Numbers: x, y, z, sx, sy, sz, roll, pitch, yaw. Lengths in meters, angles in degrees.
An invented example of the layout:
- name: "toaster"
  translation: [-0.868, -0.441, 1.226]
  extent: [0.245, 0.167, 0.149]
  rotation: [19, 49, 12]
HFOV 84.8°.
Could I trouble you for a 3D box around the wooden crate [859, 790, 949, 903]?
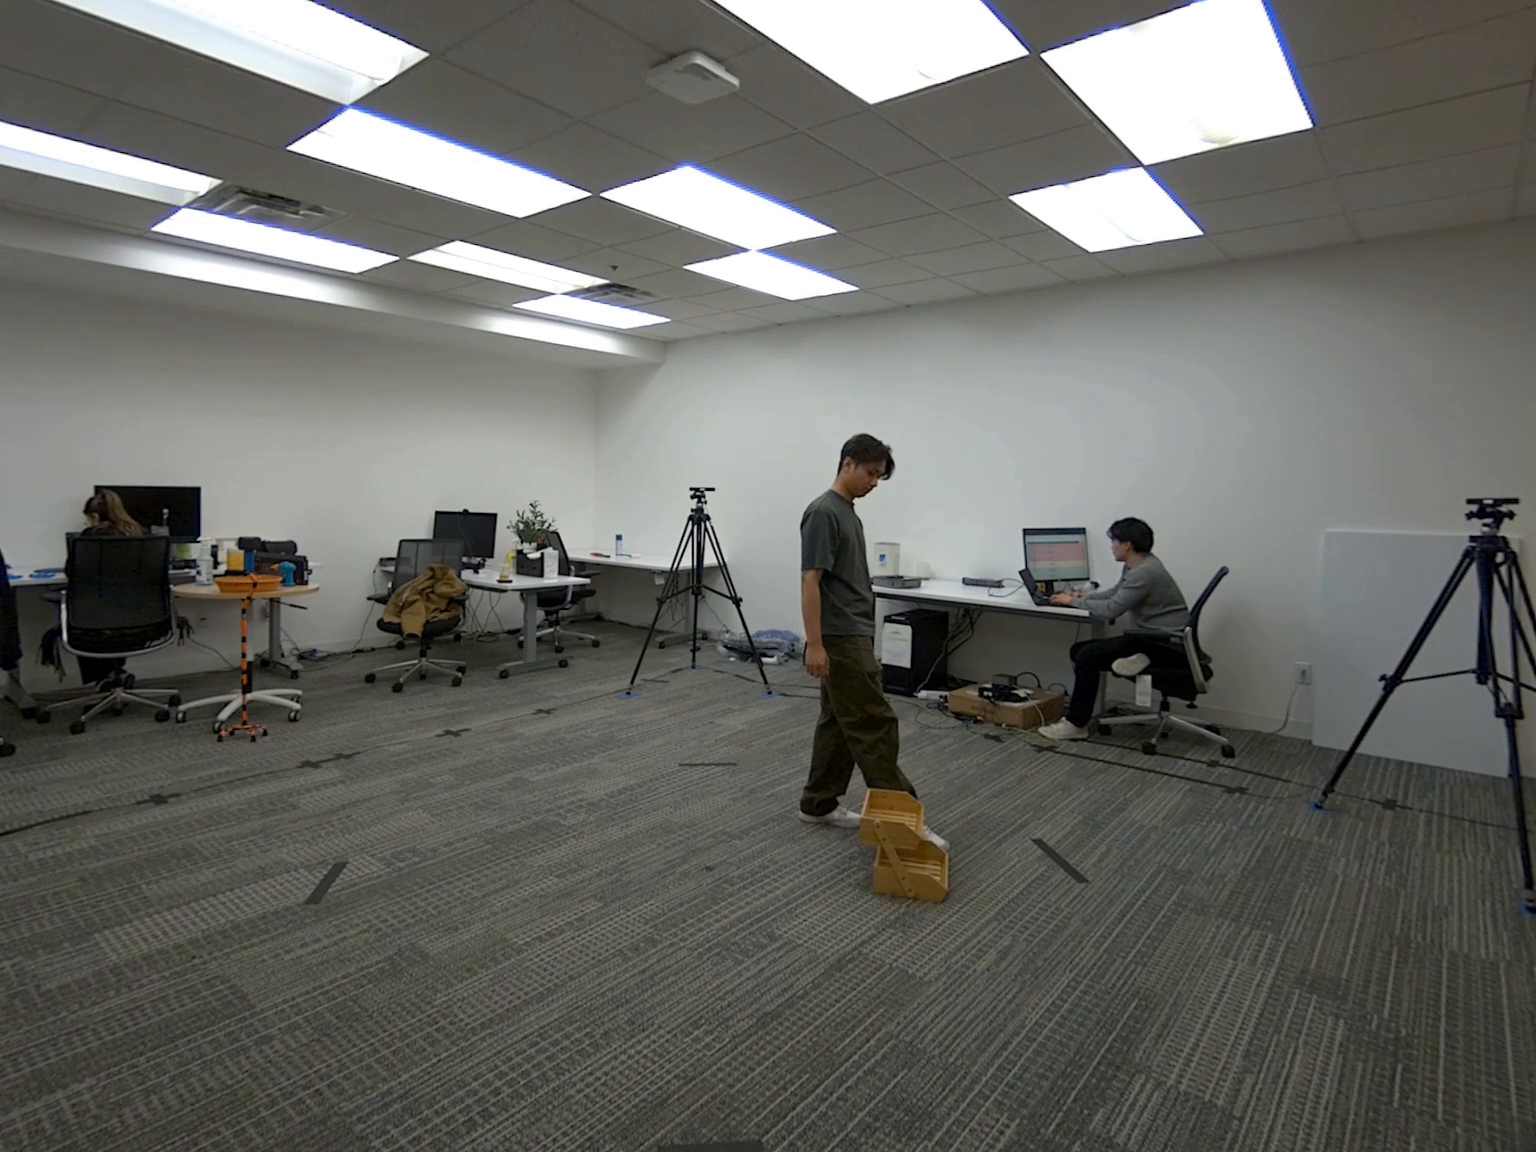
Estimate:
- name: "wooden crate"
  translation: [0.492, 0.953, 3.067]
  extent: [0.307, 0.272, 0.321]
  rotation: [1, 5, 14]
